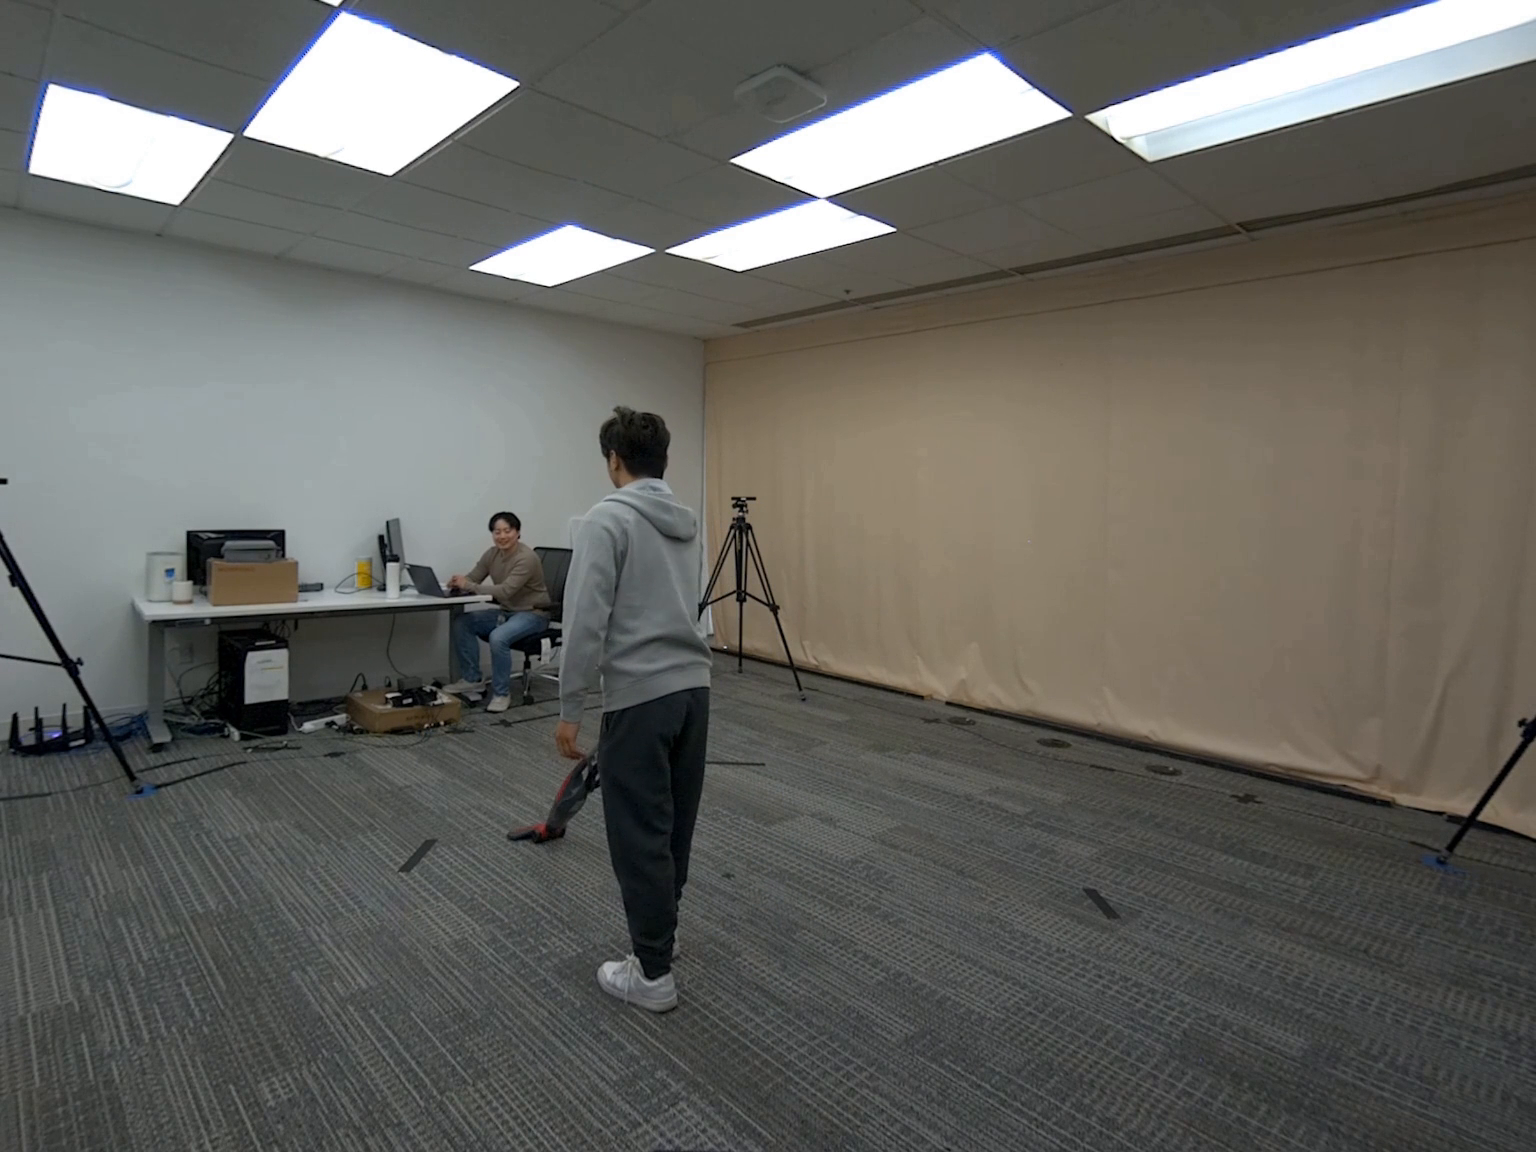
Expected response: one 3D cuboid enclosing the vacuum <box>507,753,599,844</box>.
[{"bbox_3d":[-0.666,0.722,3.137,0.248,0.147,1.046,-11,-32,-47],"label":"vacuum"}]
